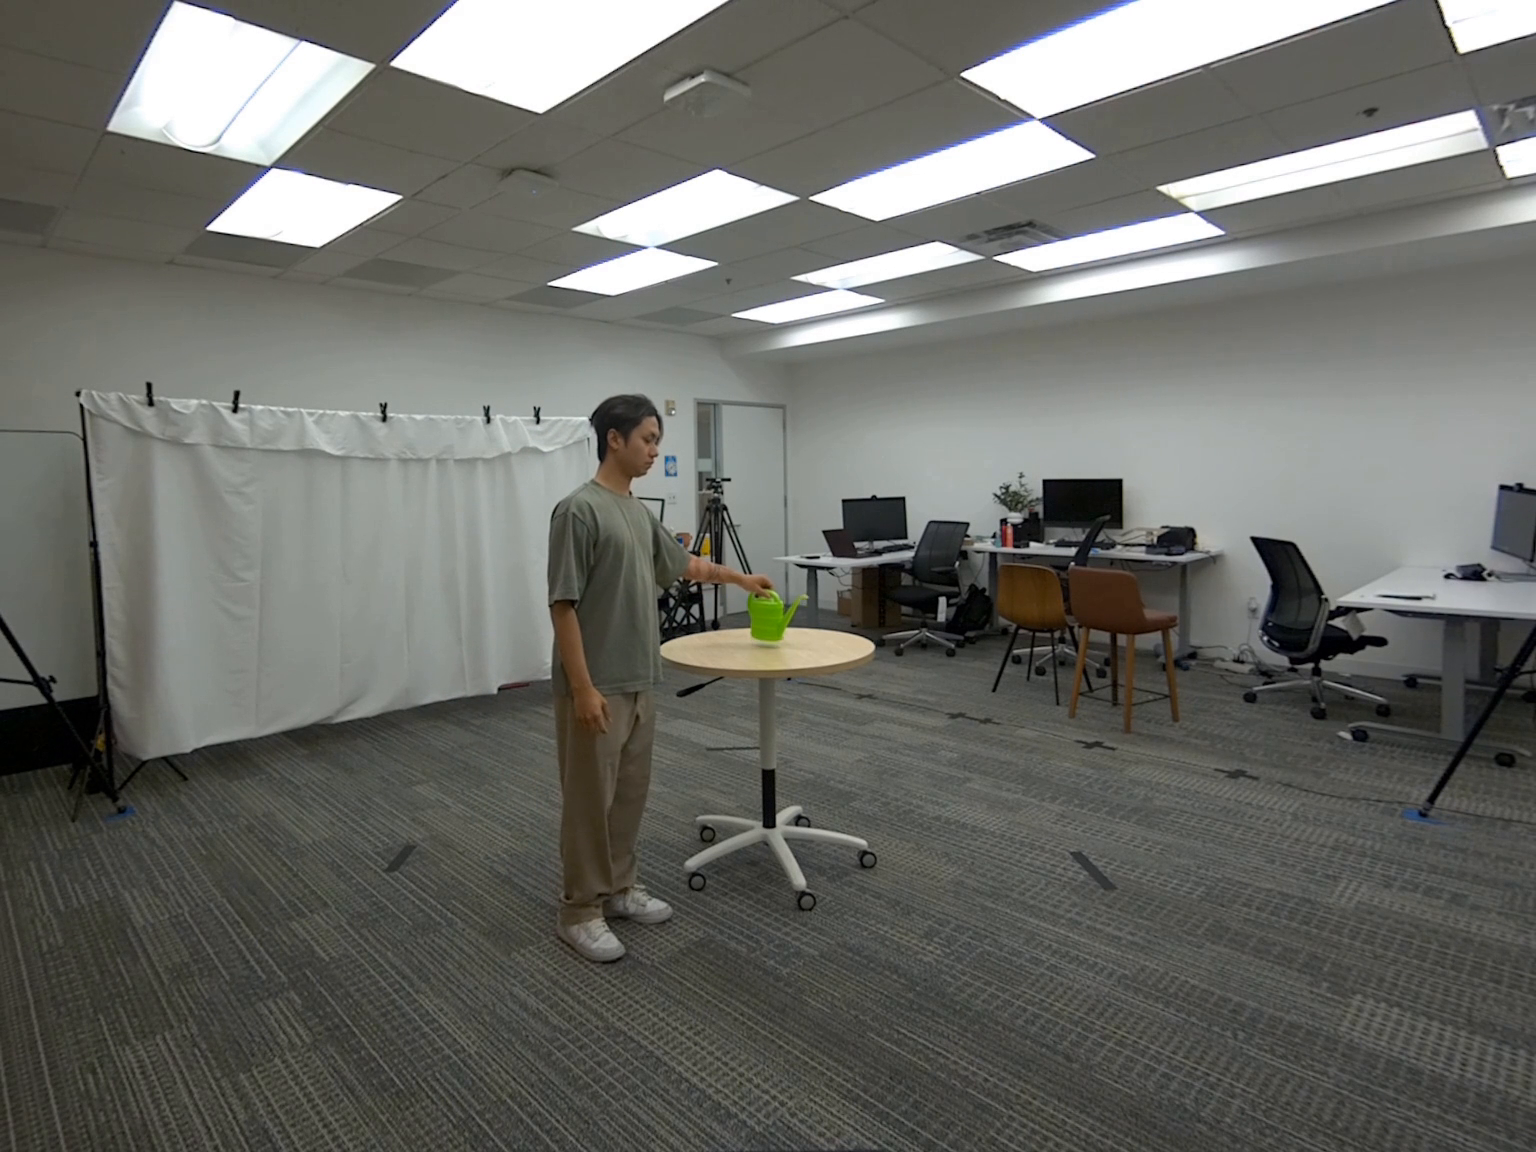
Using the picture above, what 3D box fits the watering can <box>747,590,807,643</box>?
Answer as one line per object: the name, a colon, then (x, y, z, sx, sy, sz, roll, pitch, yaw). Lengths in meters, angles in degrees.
watering can: (0.024, 0.139, 2.991, 0.096, 0.176, 0.286, -4, 7, -29)
